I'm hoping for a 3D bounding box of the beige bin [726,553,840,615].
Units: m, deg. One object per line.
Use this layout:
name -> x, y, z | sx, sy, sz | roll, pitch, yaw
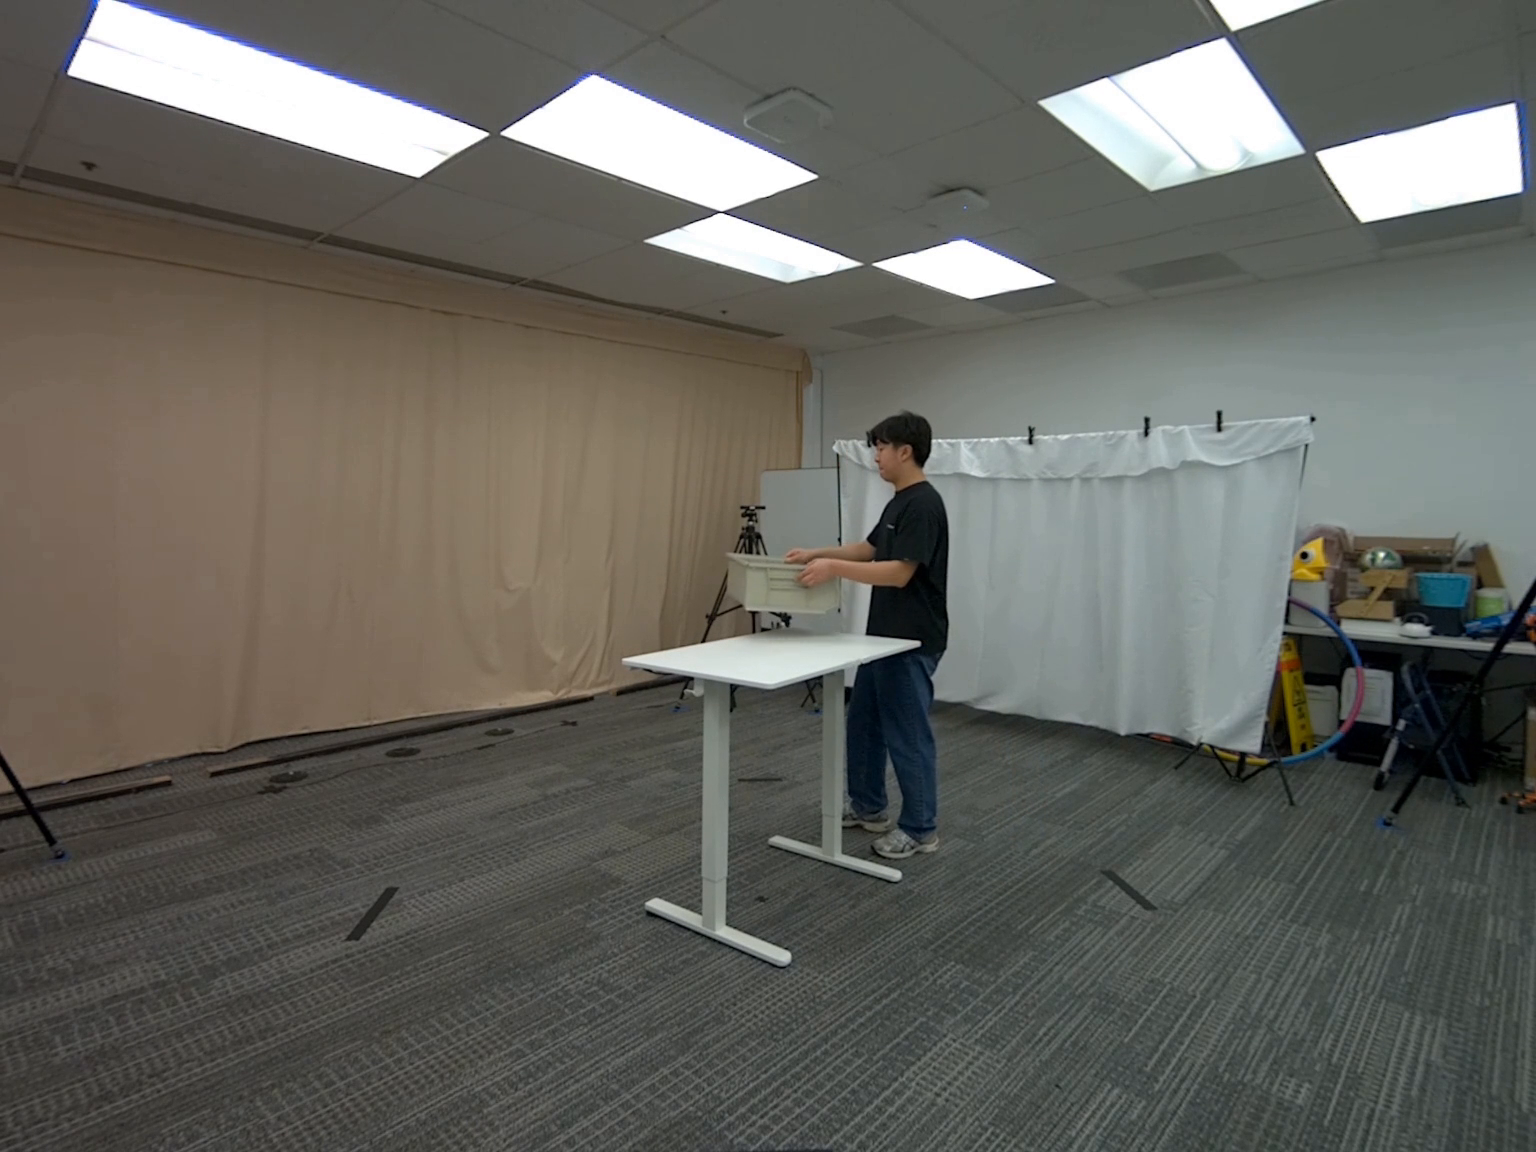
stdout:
beige bin -> 0.059, 0.034, 3.383 | 0.373, 0.188, 0.428 | 2, 5, -11
